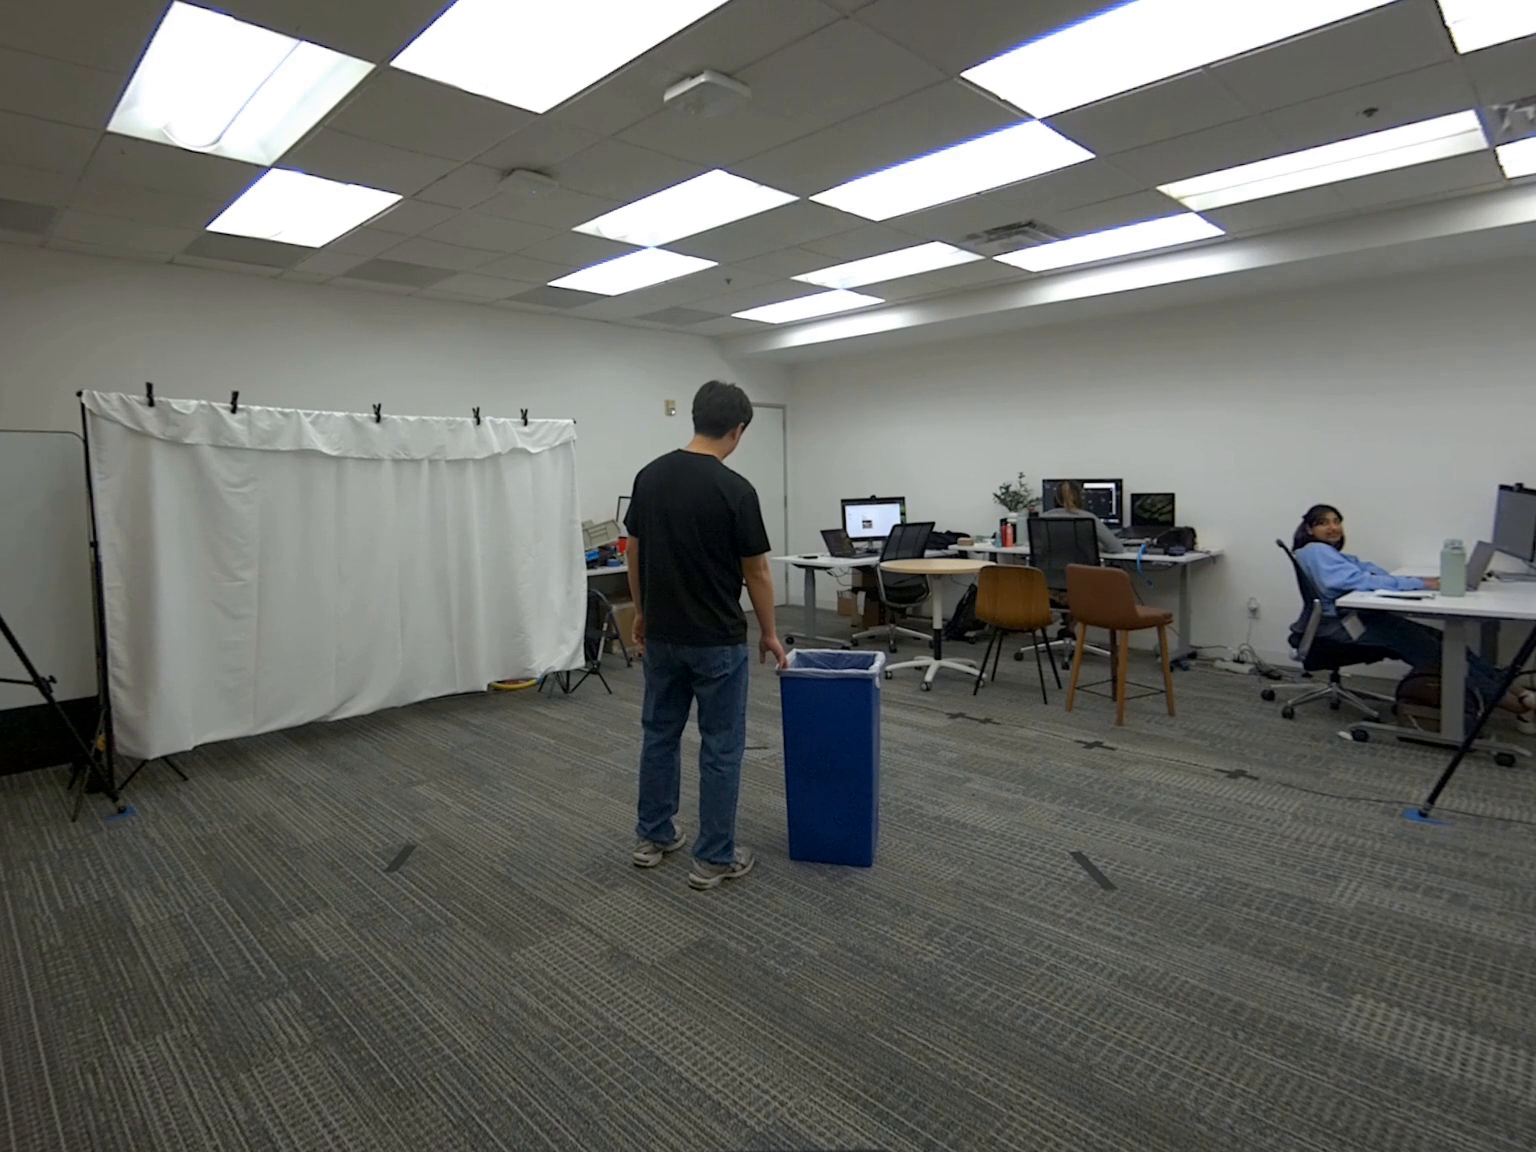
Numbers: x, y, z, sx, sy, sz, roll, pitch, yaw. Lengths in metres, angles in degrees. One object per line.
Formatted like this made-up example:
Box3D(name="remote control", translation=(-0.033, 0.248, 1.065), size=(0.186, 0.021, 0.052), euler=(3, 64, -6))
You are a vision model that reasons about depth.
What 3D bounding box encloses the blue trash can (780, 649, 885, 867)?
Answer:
Box3D(name="blue trash can", translation=(0.255, 0.666, 3.213), size=(0.379, 0.711, 0.374), euler=(-1, 4, 14))
